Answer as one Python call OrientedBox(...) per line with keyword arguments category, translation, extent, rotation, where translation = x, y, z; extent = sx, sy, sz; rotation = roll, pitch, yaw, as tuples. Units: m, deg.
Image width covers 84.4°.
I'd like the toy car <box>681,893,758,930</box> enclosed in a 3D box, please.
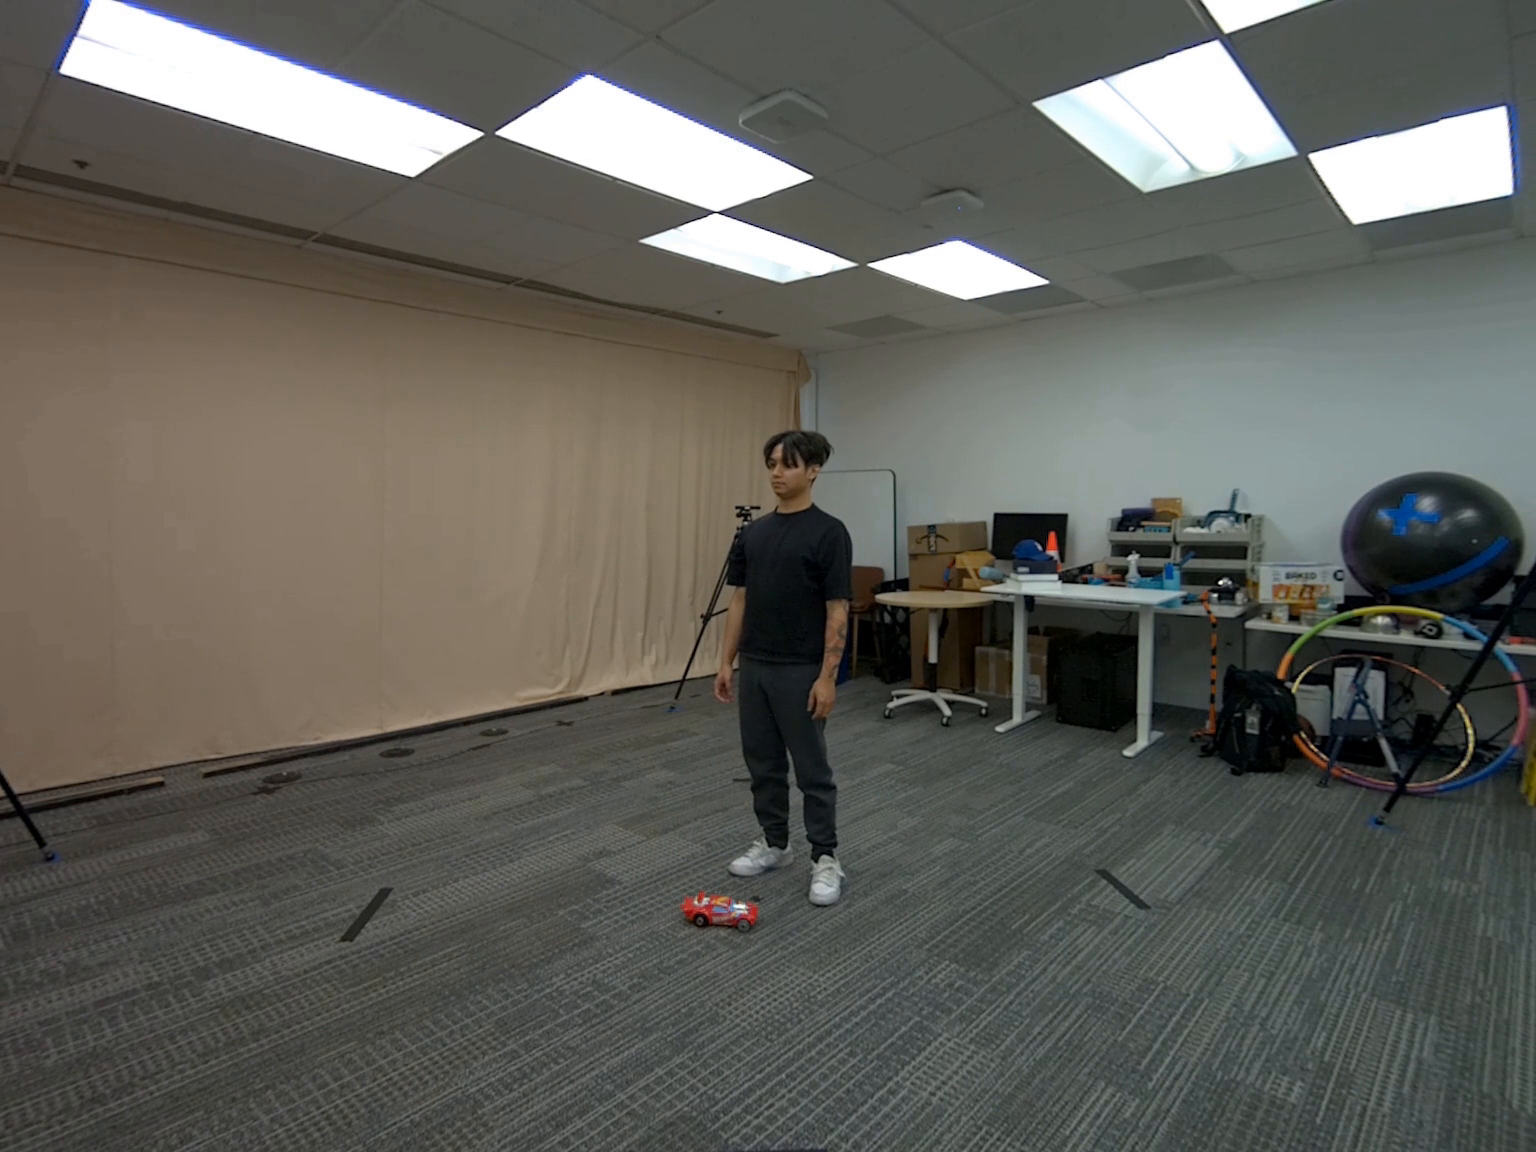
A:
OrientedBox(category="toy car", translation=(-0.163, 1.125, 2.822), extent=(0.258, 0.083, 0.129), rotation=(11, 5, 11))
